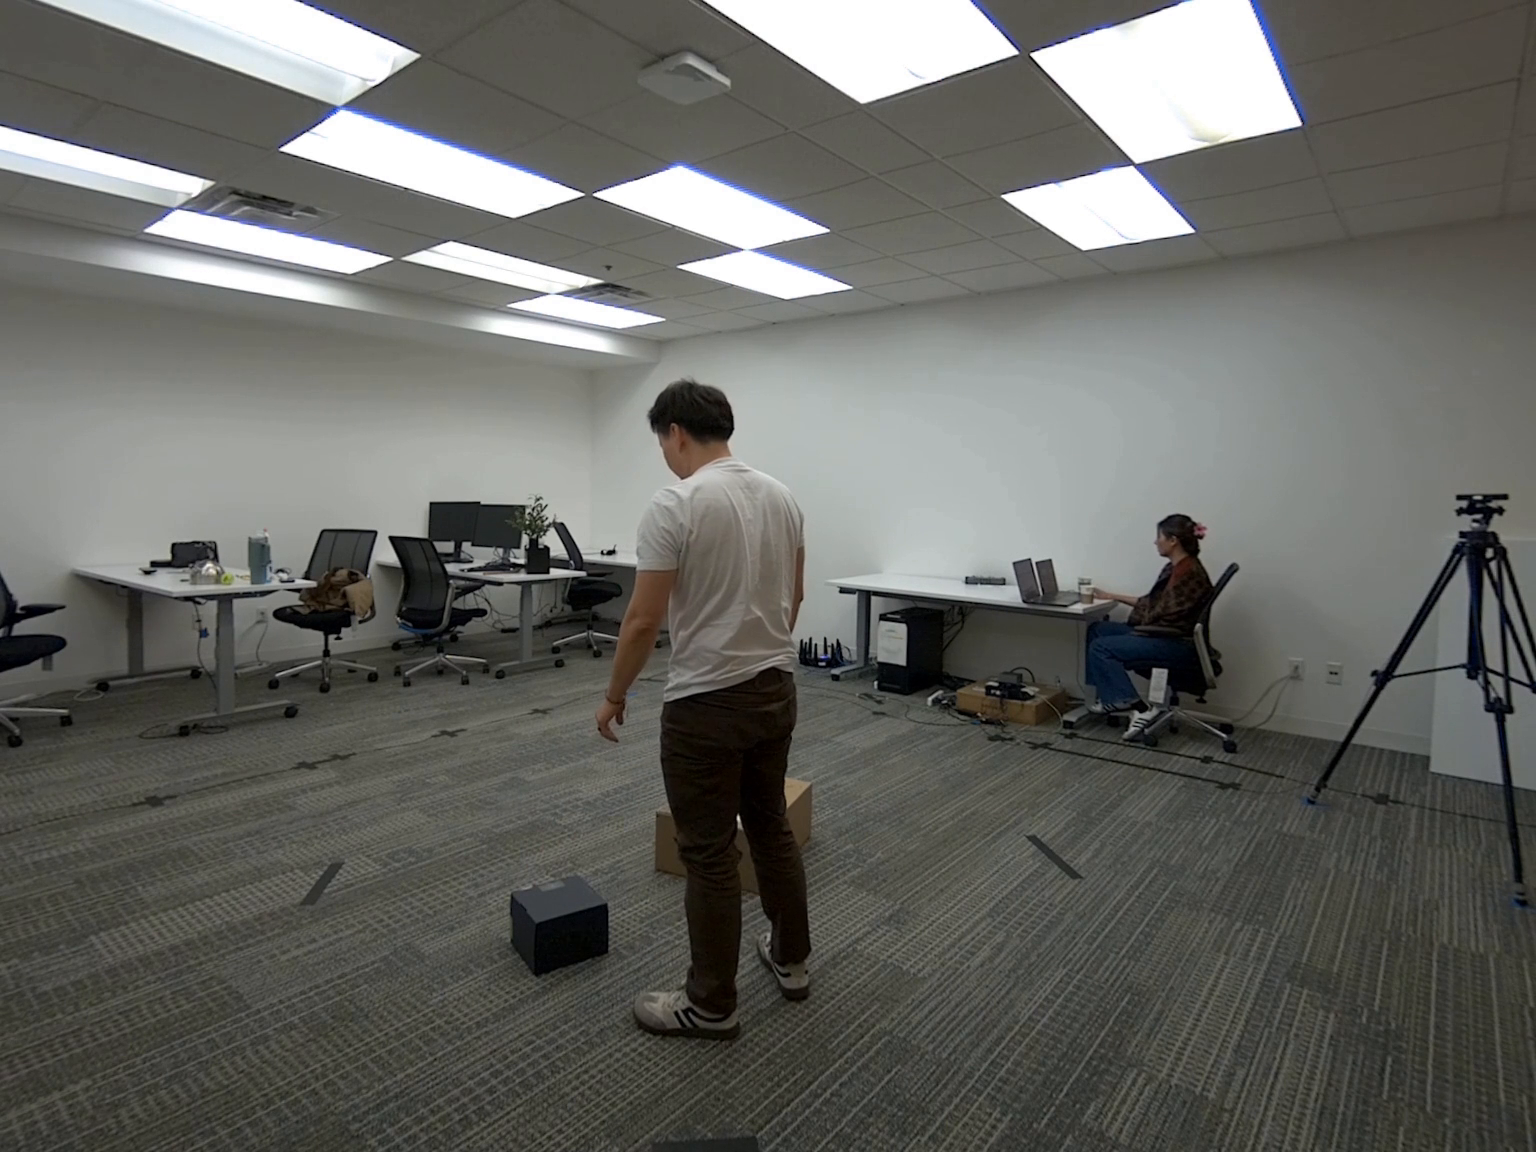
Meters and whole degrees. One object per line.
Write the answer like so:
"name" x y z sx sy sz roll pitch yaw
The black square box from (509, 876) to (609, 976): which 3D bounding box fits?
"black square box" -0.636 1.032 2.546 0.221 0.155 0.224 -3 6 -35
